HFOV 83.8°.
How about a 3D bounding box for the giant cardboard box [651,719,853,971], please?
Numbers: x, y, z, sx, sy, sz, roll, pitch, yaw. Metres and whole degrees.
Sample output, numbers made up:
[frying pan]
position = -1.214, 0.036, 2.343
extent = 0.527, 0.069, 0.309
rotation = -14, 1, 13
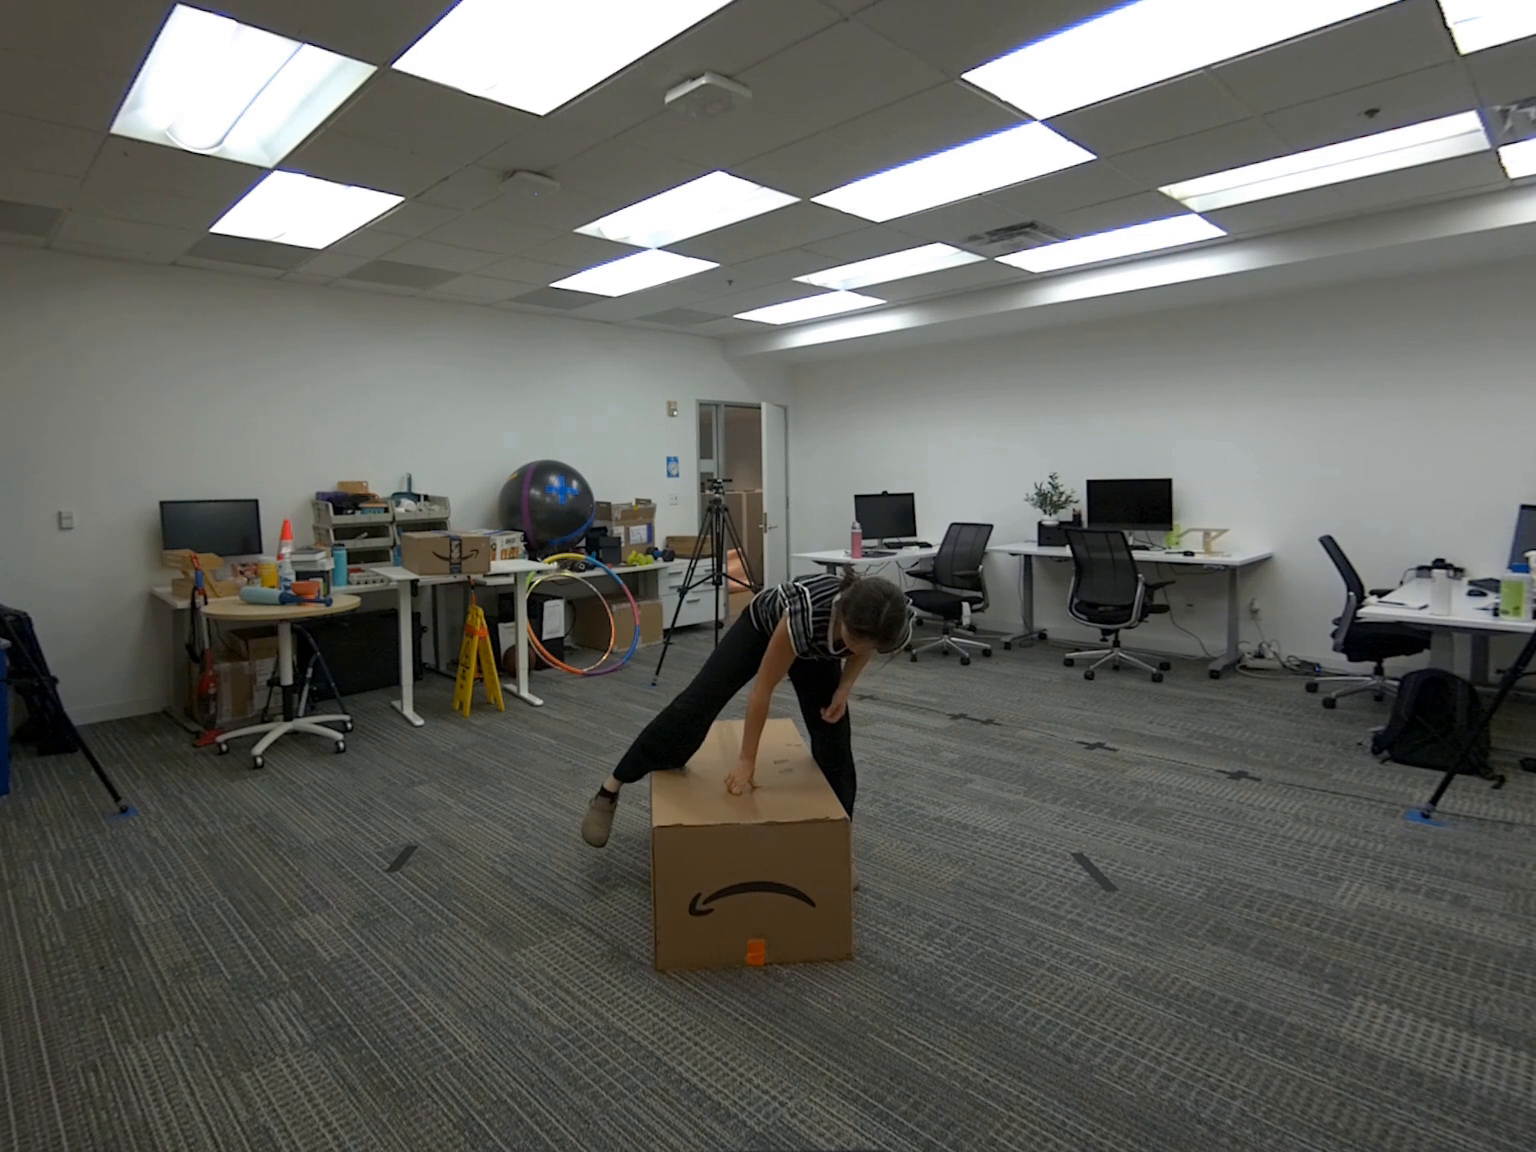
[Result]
[giant cardboard box]
position = -0.108, 0.861, 2.946
extent = 0.574, 0.424, 1.037
rotation = -2, 7, -7
